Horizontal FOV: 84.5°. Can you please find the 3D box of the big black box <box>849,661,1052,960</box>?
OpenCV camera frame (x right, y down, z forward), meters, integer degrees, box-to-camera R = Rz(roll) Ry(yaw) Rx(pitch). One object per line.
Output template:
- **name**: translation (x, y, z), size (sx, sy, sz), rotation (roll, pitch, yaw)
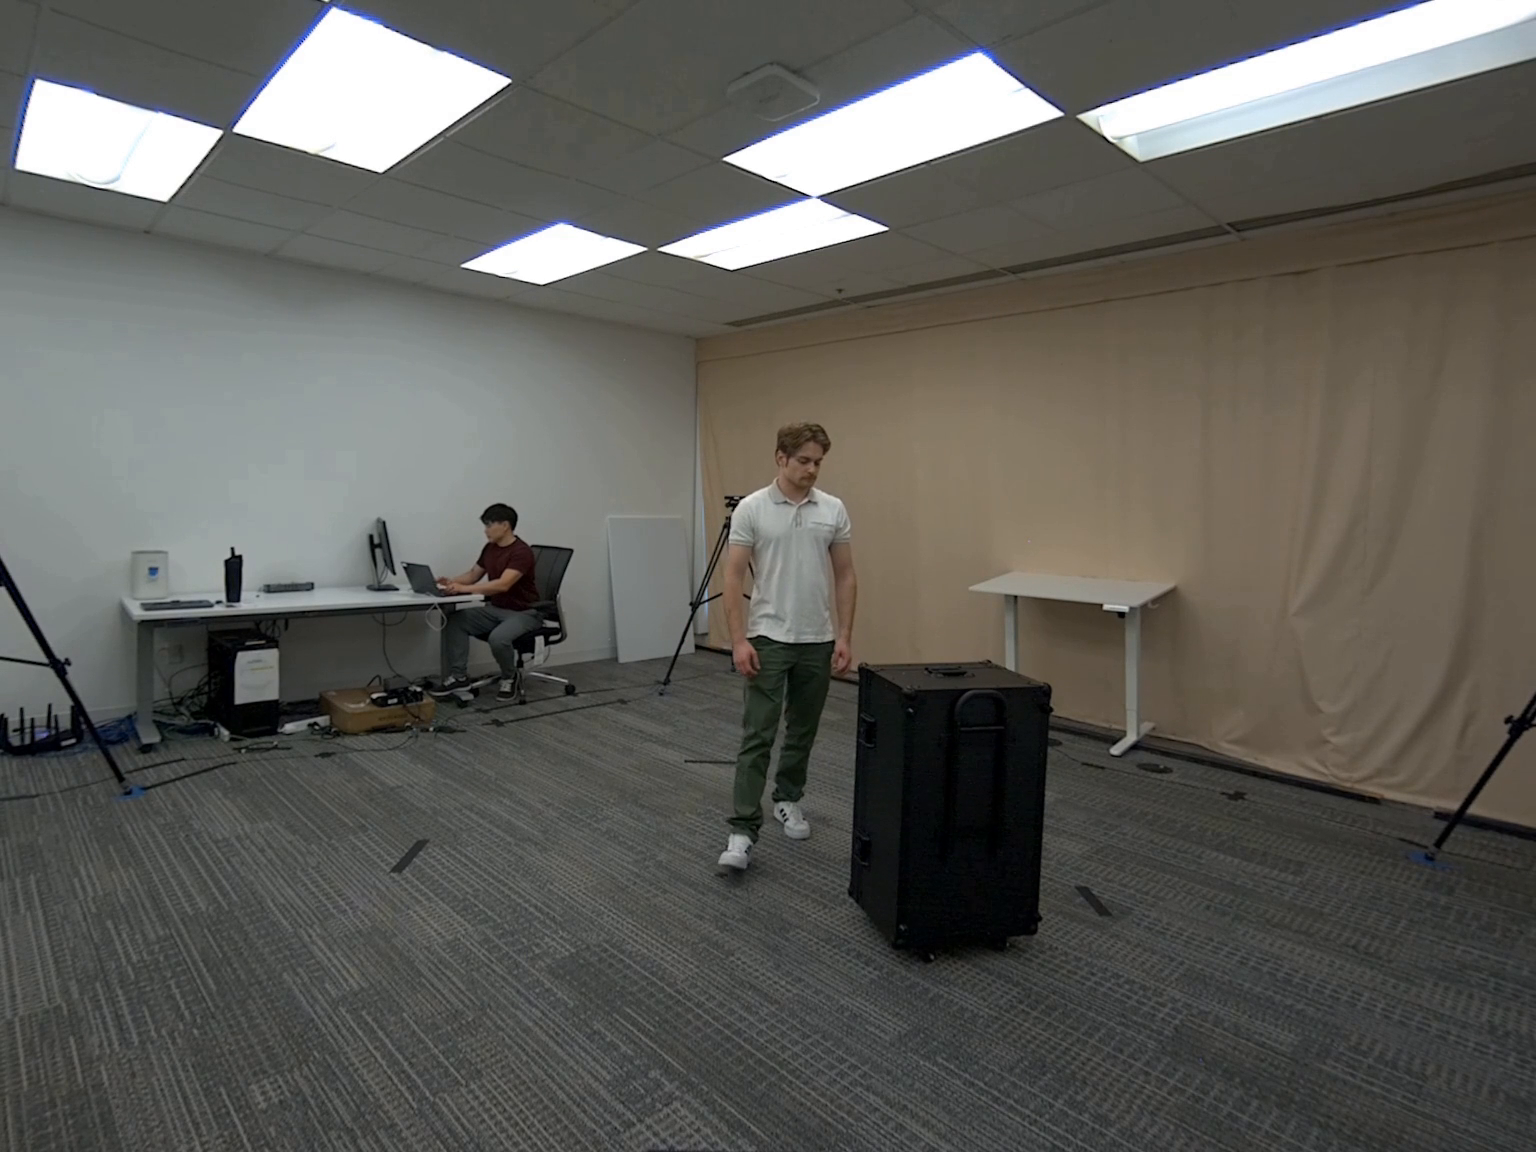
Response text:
- **big black box**: translation (0.567, 0.741, 2.682), size (0.517, 0.866, 0.391), rotation (1, 5, -15)
